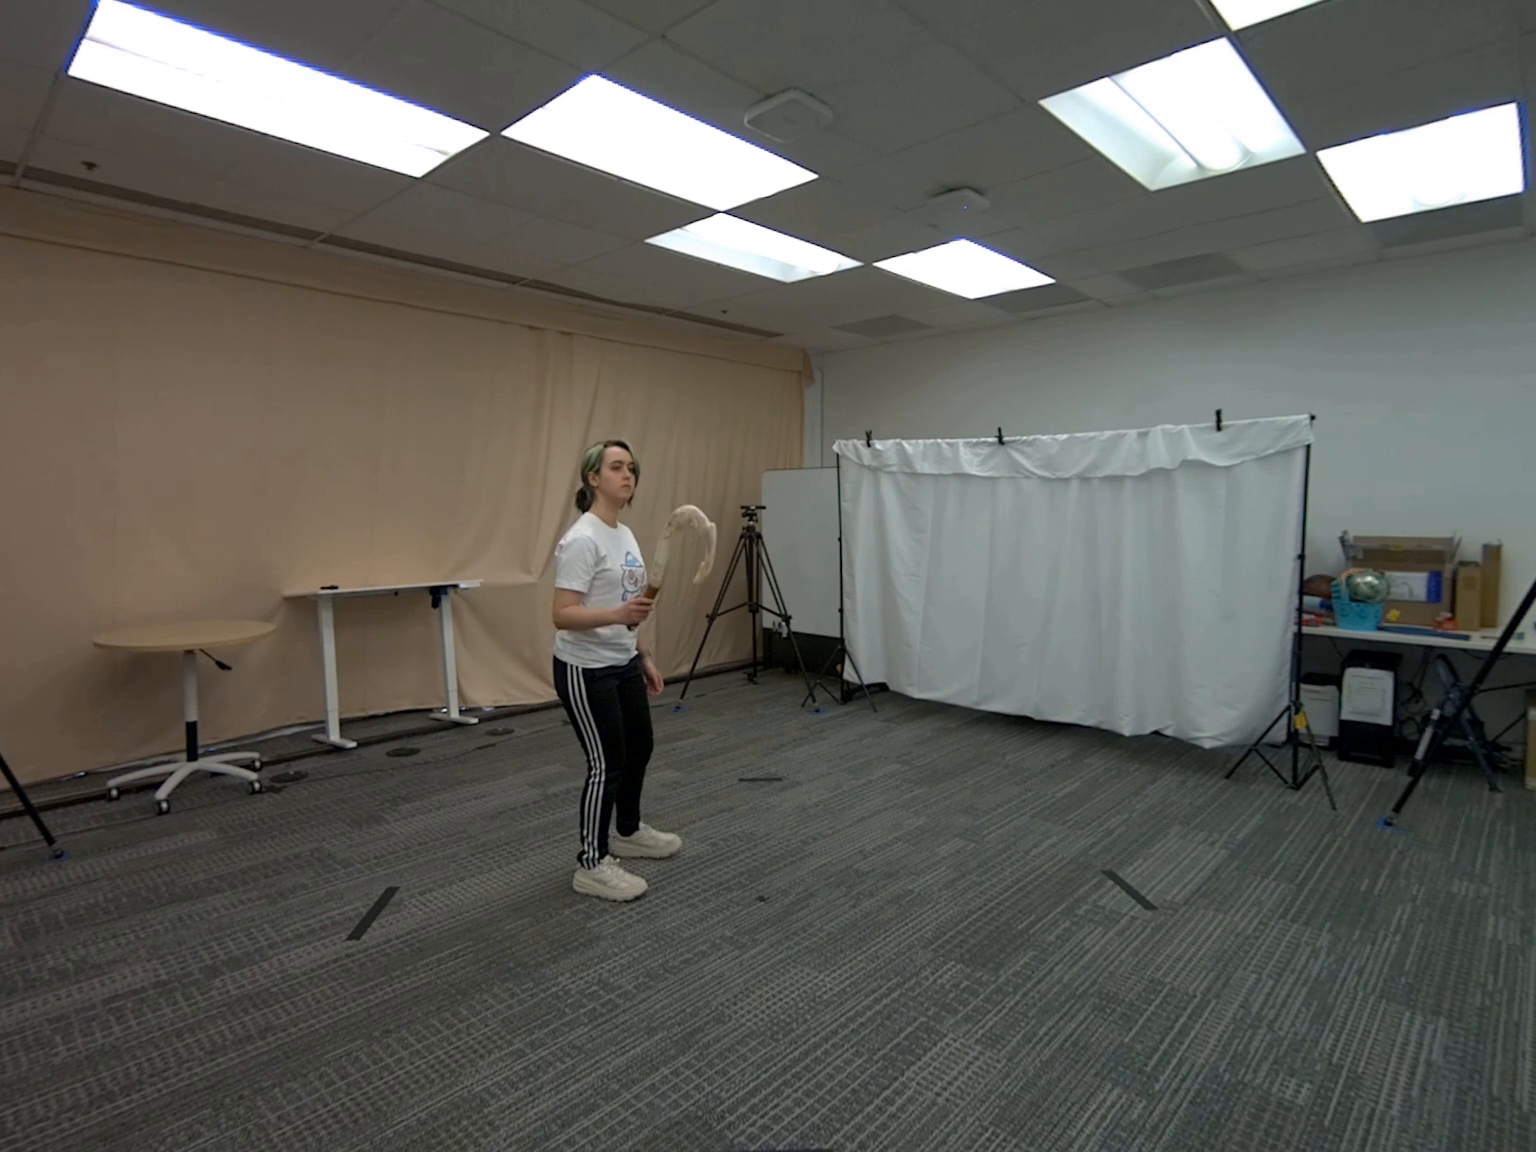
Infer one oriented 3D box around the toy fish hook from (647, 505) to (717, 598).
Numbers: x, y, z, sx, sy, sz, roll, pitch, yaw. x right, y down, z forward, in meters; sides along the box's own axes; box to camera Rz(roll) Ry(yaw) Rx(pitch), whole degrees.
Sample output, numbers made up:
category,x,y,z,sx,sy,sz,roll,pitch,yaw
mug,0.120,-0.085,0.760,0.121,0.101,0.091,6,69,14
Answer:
category,x,y,z,sx,sy,sz,roll,pitch,yaw
toy fish hook,-0.314,0.016,2.652,0.047,0.506,0.232,-1,40,-48
